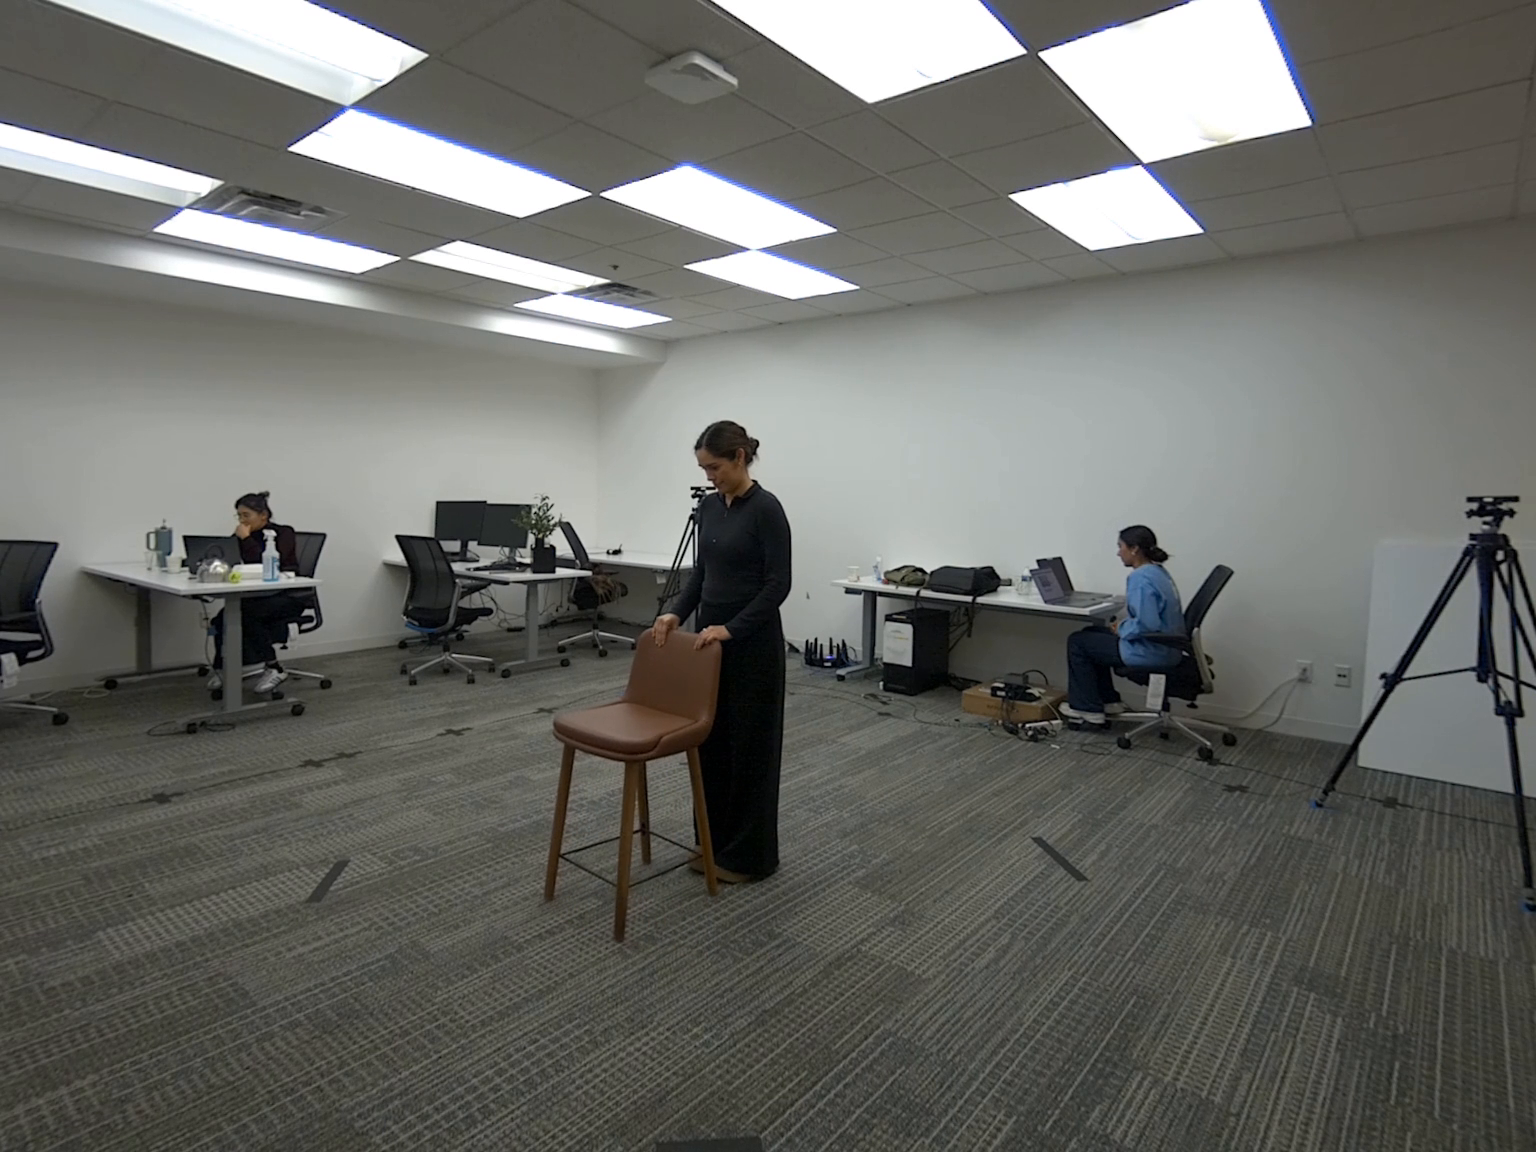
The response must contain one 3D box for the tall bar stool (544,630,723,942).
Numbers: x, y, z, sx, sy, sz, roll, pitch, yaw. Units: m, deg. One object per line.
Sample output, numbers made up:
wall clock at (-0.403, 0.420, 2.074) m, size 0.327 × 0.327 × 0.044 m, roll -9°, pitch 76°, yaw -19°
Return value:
tall bar stool at (-0.450, 0.645, 2.865) m, size 0.472 × 0.889 × 0.453 m, roll 4°, pitch 2°, yaw 43°
